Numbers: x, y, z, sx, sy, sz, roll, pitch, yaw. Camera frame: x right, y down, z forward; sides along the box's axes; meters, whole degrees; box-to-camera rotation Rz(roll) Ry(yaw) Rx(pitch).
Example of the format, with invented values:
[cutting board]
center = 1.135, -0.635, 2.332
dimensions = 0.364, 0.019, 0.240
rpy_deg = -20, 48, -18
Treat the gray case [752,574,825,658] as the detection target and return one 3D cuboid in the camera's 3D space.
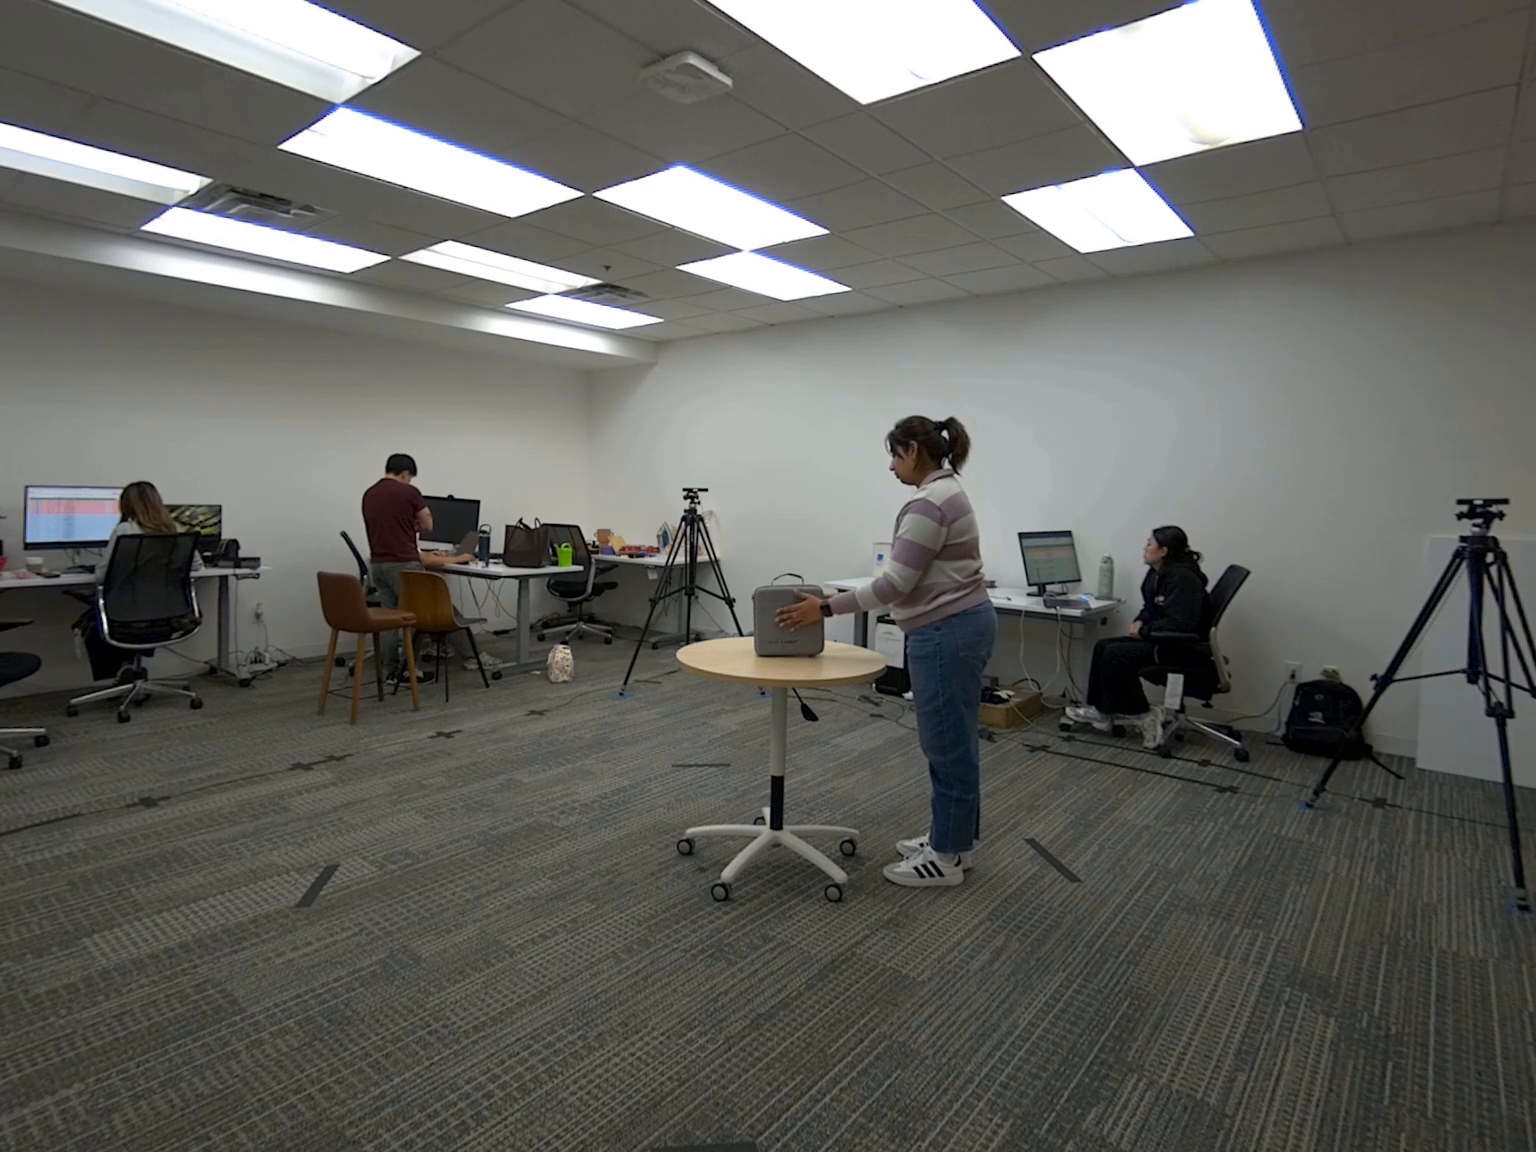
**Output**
[gray case]
center = 0.063, 0.158, 3.136
dimensions = 0.256, 0.260, 0.105
rpy_deg = 1, 1, -5
